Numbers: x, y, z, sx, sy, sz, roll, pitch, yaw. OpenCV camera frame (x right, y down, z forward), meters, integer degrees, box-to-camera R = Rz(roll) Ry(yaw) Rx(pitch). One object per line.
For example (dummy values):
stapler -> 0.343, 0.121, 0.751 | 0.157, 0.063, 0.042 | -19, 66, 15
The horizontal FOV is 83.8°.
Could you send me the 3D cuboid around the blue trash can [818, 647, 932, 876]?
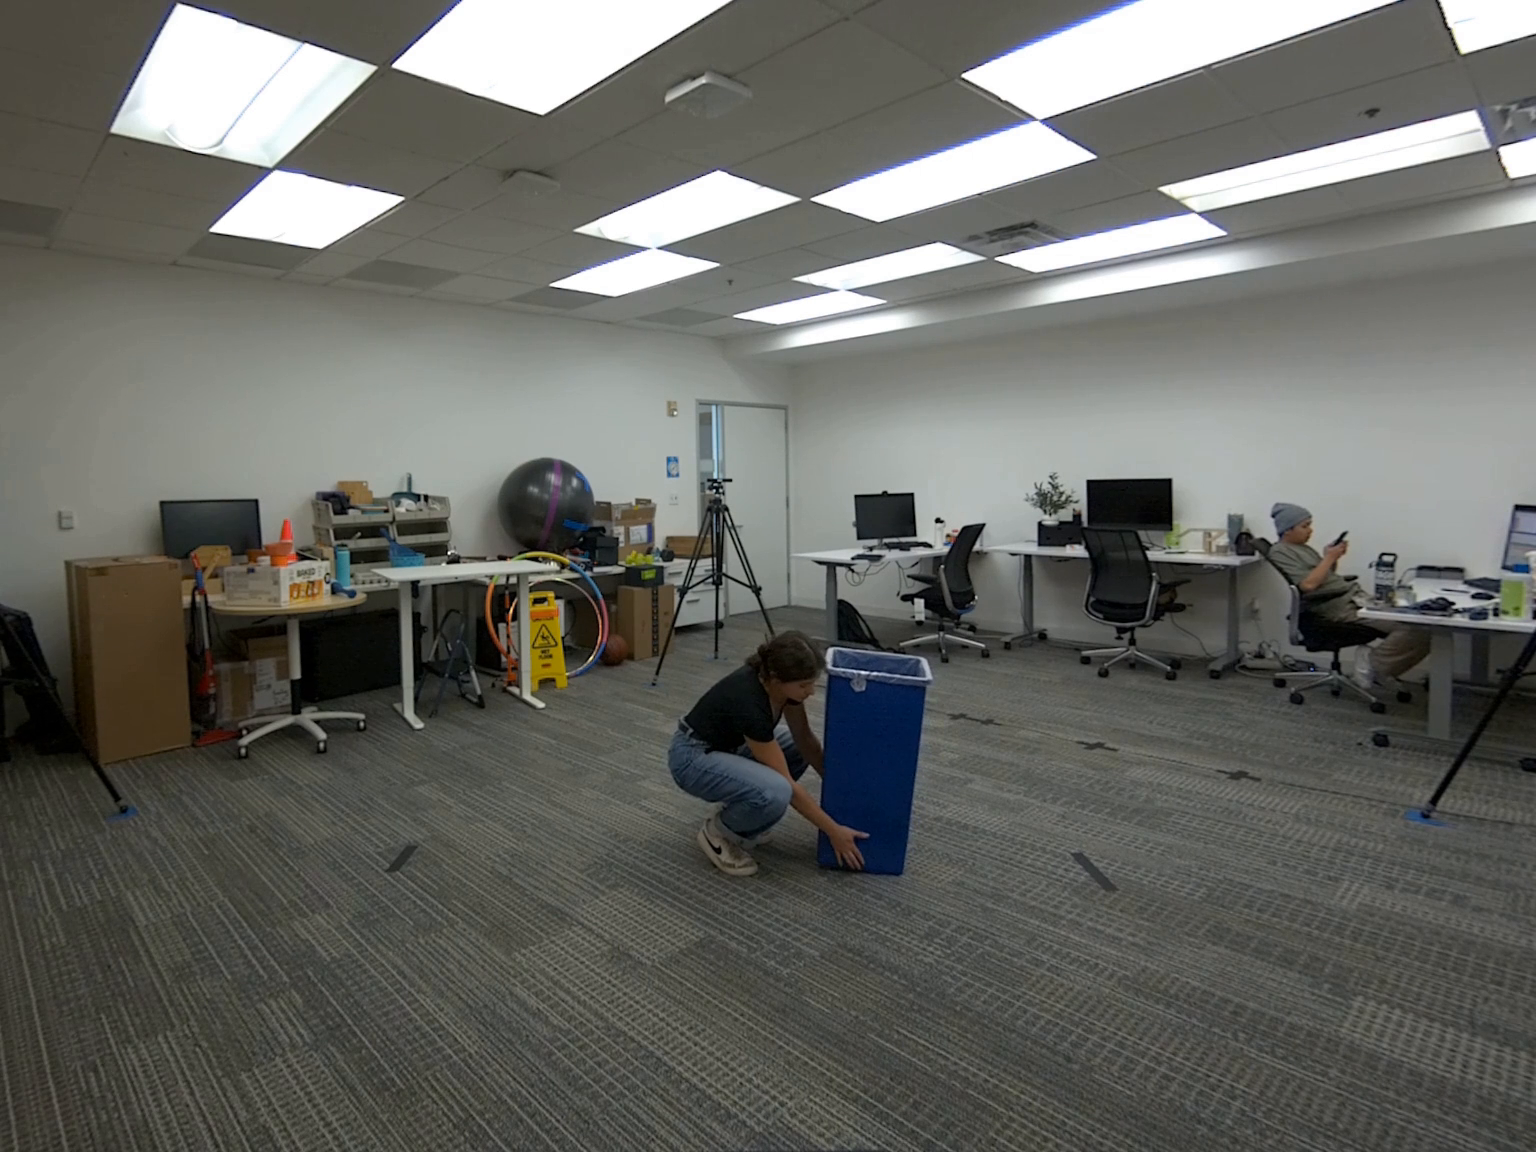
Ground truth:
blue trash can -> 0.369, 0.661, 3.135 | 0.382, 0.710, 0.372 | 5, 6, 8
